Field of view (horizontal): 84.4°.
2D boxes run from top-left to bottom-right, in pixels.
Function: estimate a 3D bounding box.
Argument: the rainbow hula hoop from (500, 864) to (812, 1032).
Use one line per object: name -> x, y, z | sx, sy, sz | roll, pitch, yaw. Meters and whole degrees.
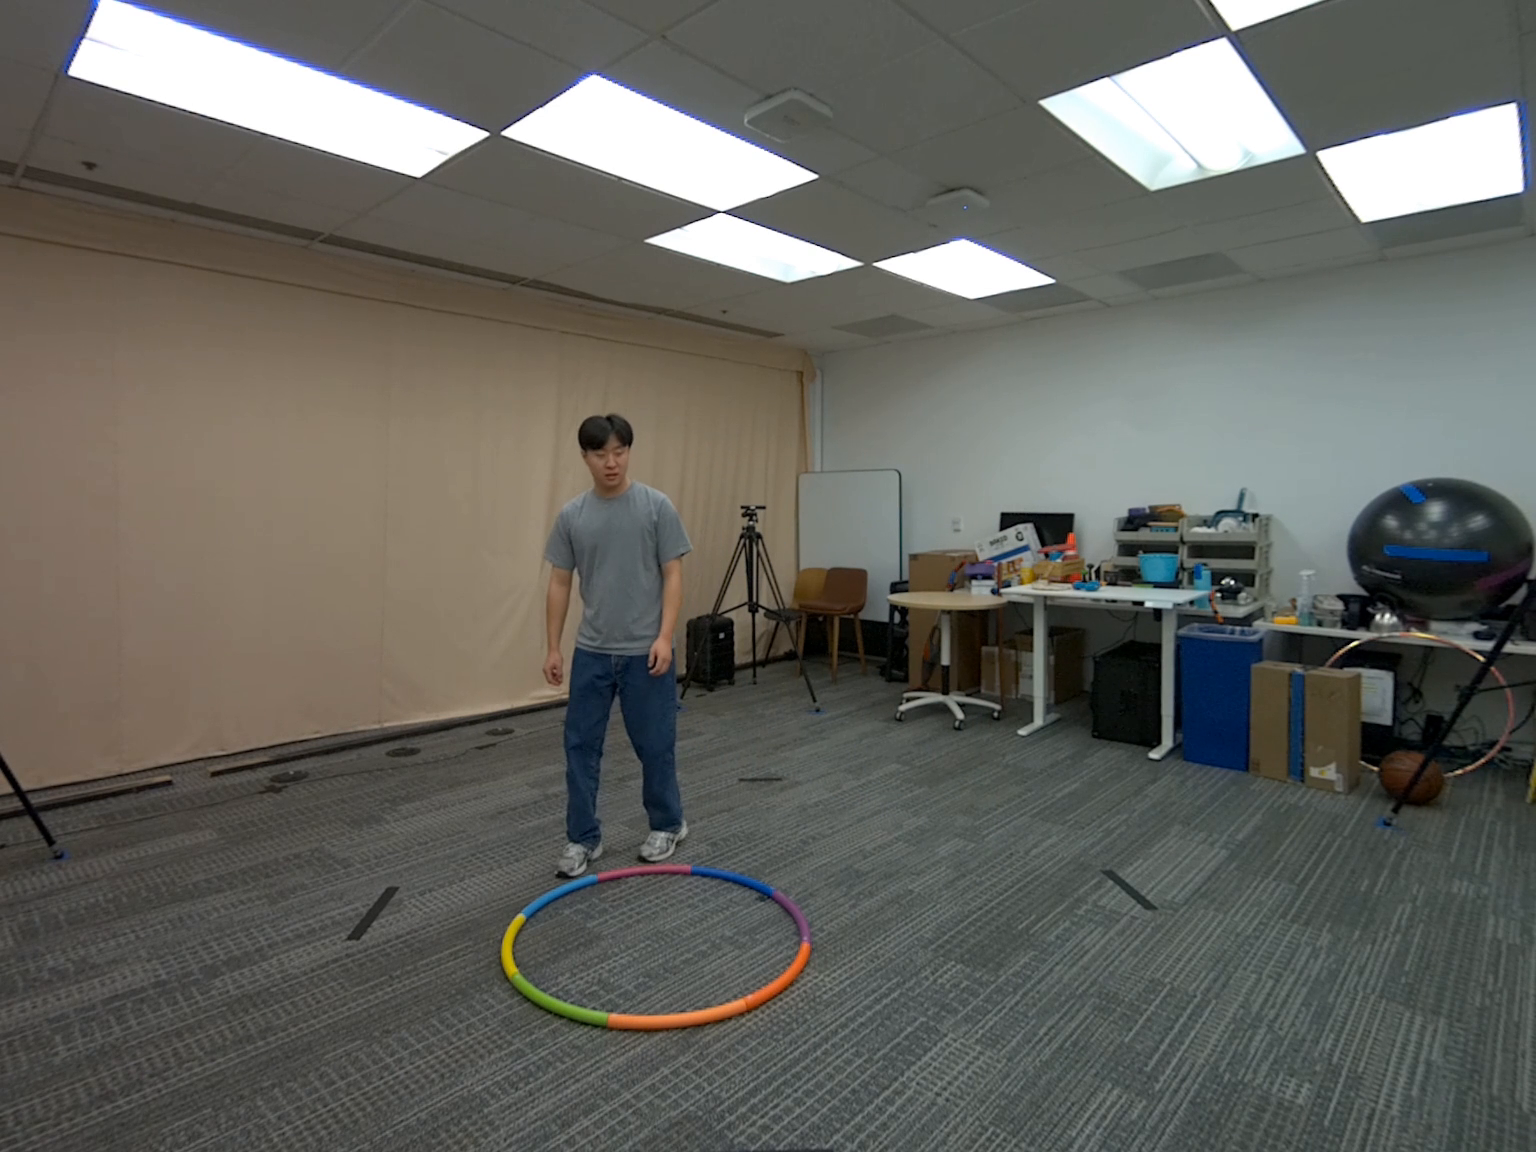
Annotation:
rainbow hula hoop -> -0.350, 1.141, 2.722 | 0.978, 0.035, 0.982 | -1, 4, -2
